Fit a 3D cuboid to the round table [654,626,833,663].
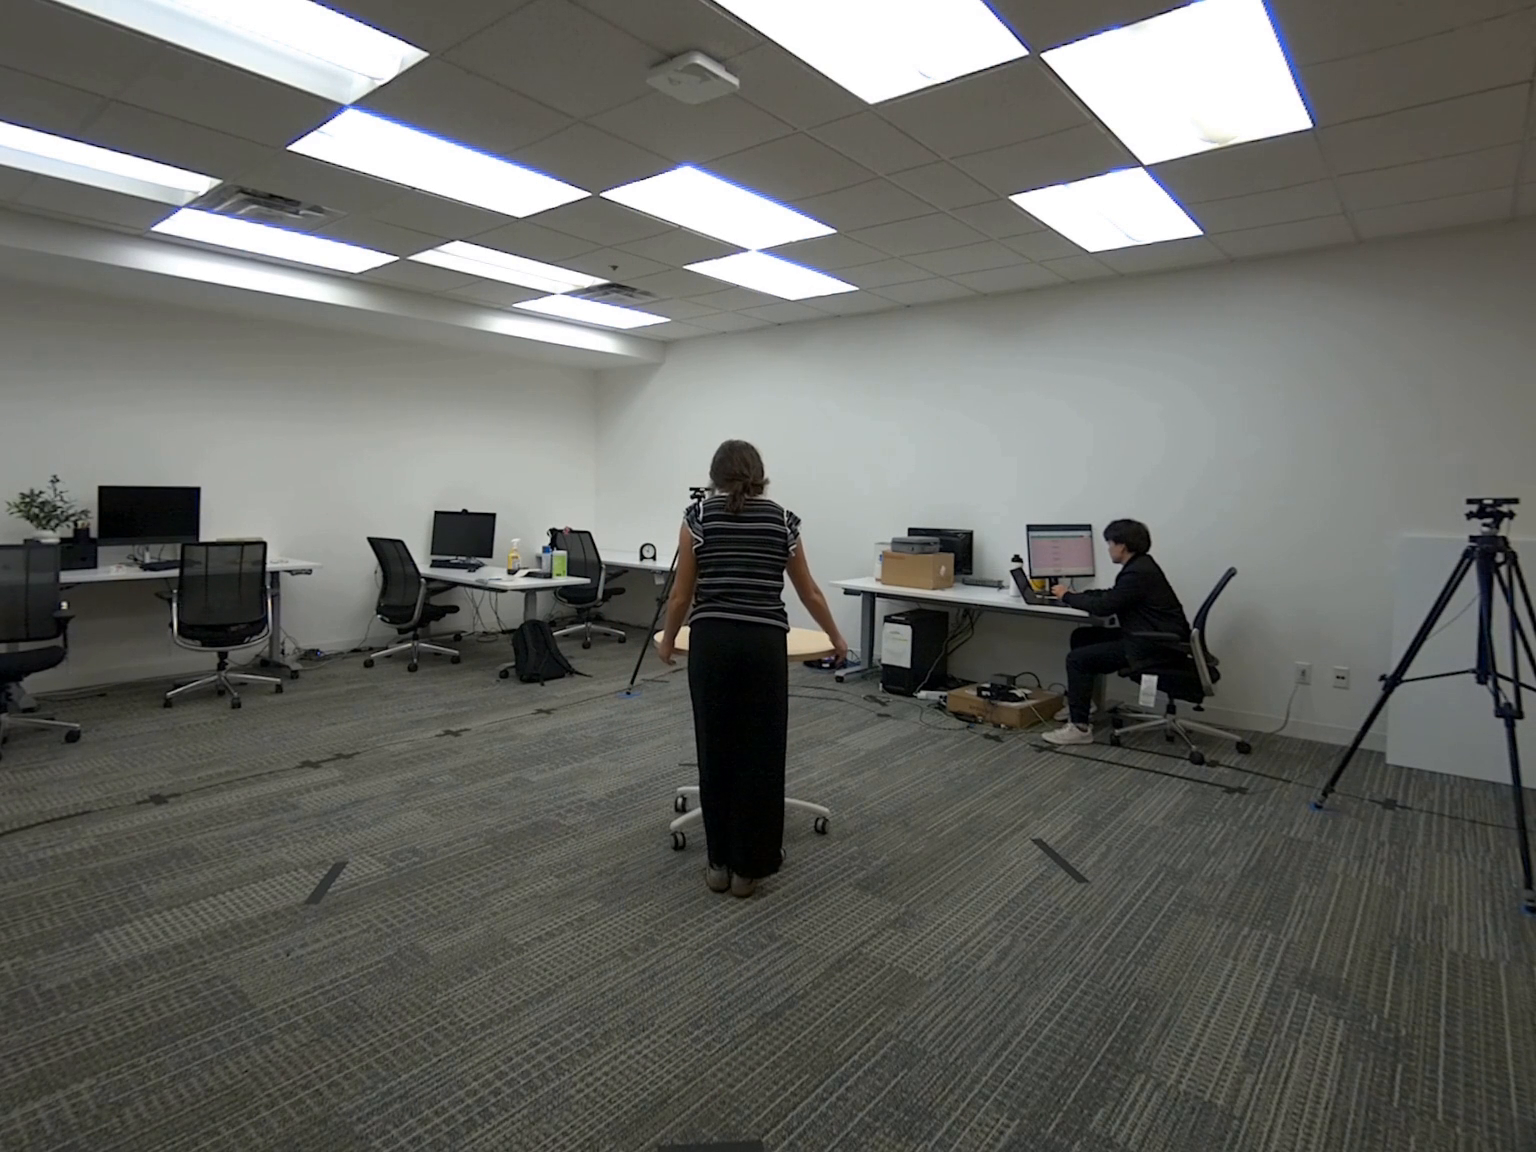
[{"bbox_3d":[-0.096,0.641,3.466,0.763,0.792,0.767,1,4,-2],"label":"round table"}]
